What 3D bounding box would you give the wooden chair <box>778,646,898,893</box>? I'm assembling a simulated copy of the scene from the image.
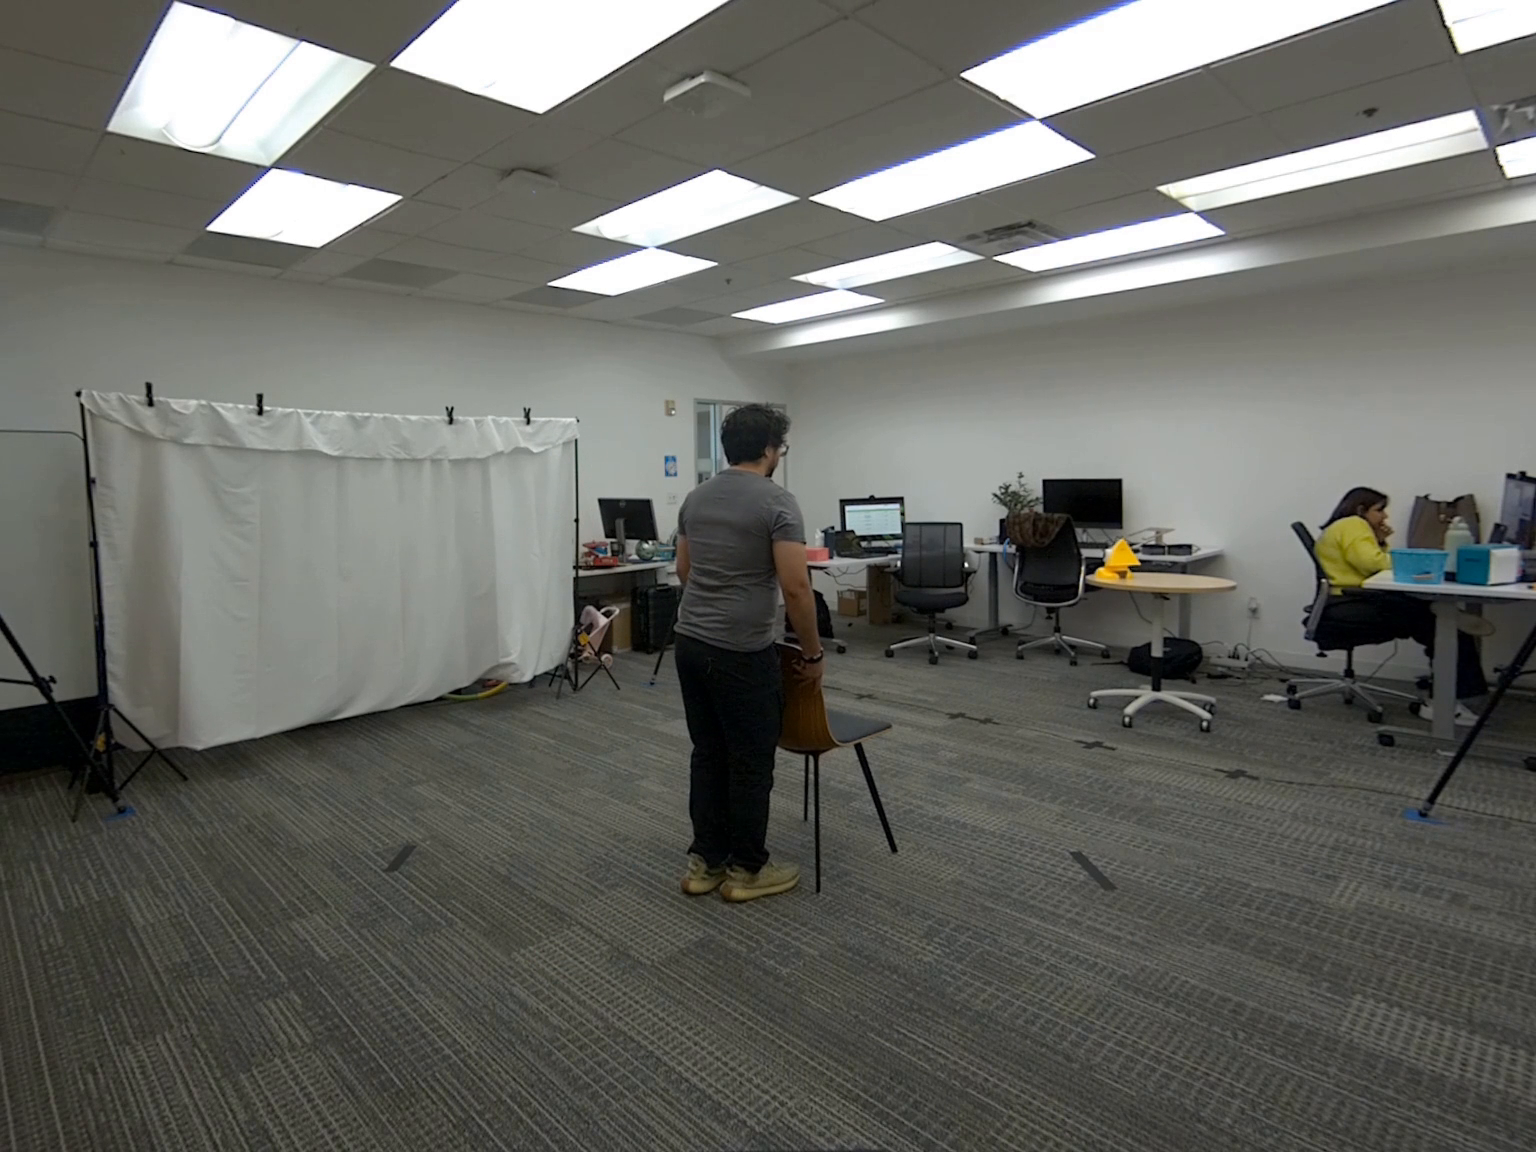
[{"bbox_3d":[0.161,0.601,3.160,0.493,0.871,0.511,3,10,45],"label":"wooden chair"}]
